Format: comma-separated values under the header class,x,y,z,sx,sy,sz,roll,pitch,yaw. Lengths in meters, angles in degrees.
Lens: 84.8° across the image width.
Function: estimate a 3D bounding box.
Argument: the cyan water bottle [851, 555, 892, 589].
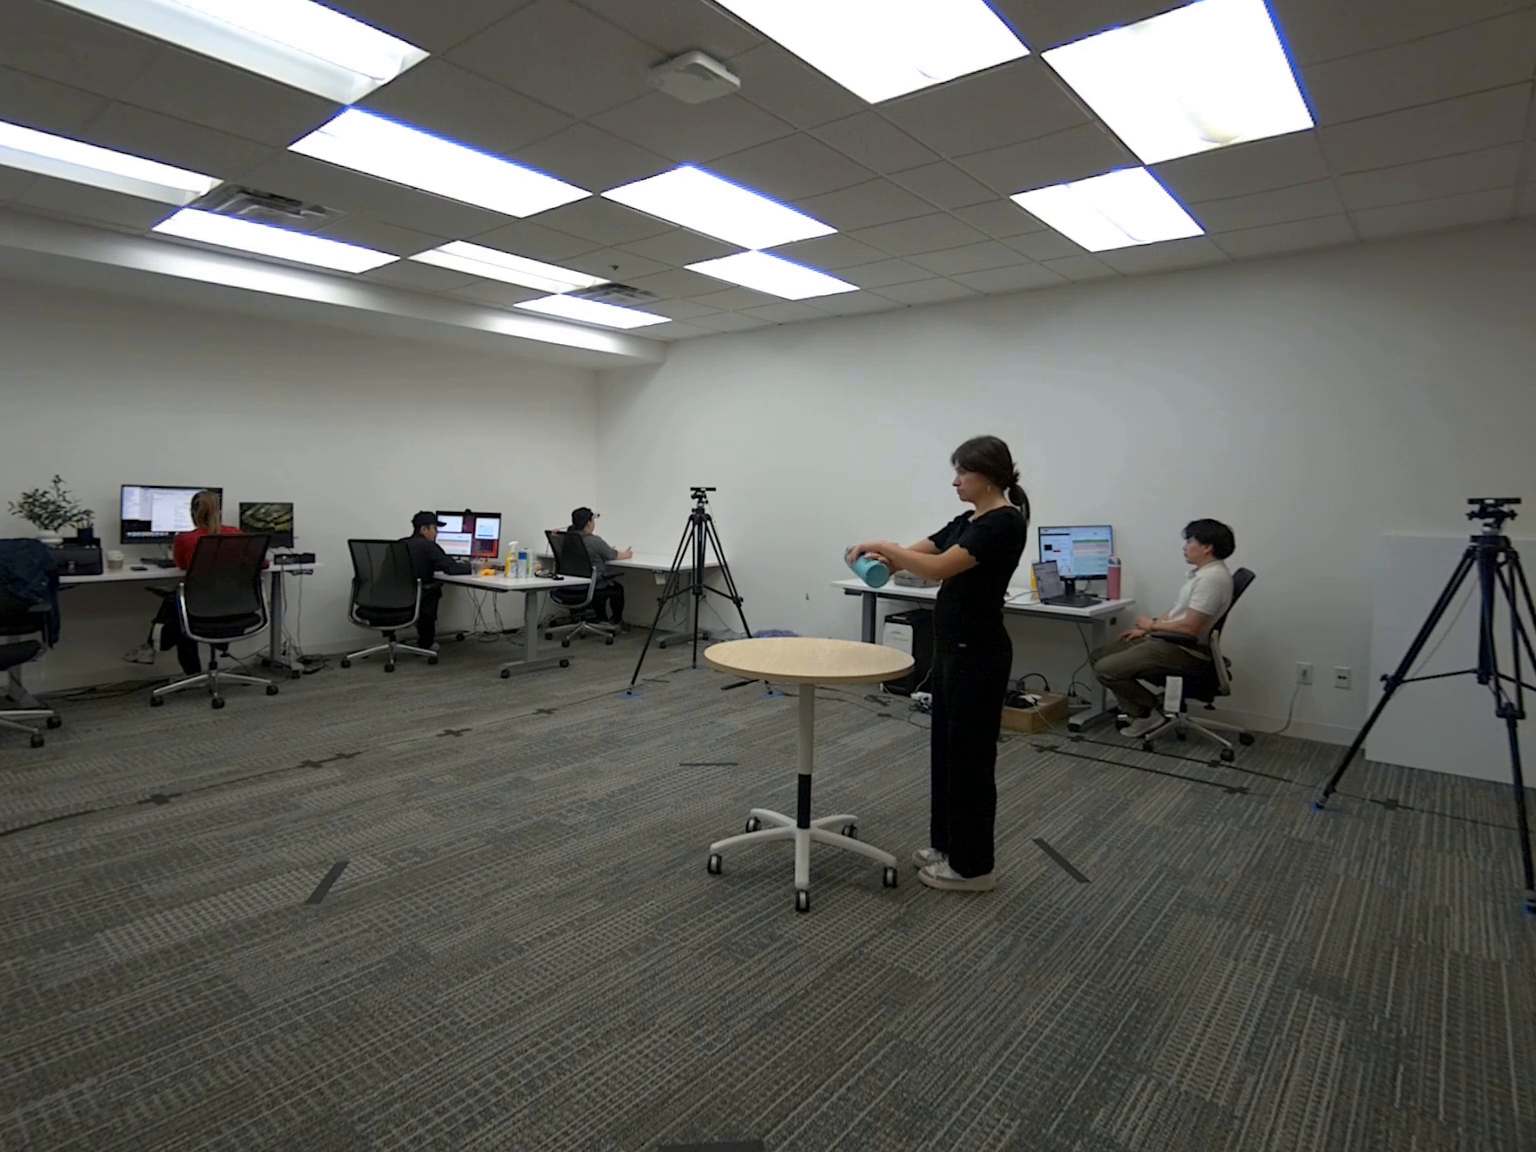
class,x,y,z,sx,sy,sz,roll,pitch,yaw
cyan water bottle,0.339,-0.039,3.015,0.091,0.091,0.289,0,14,-9
